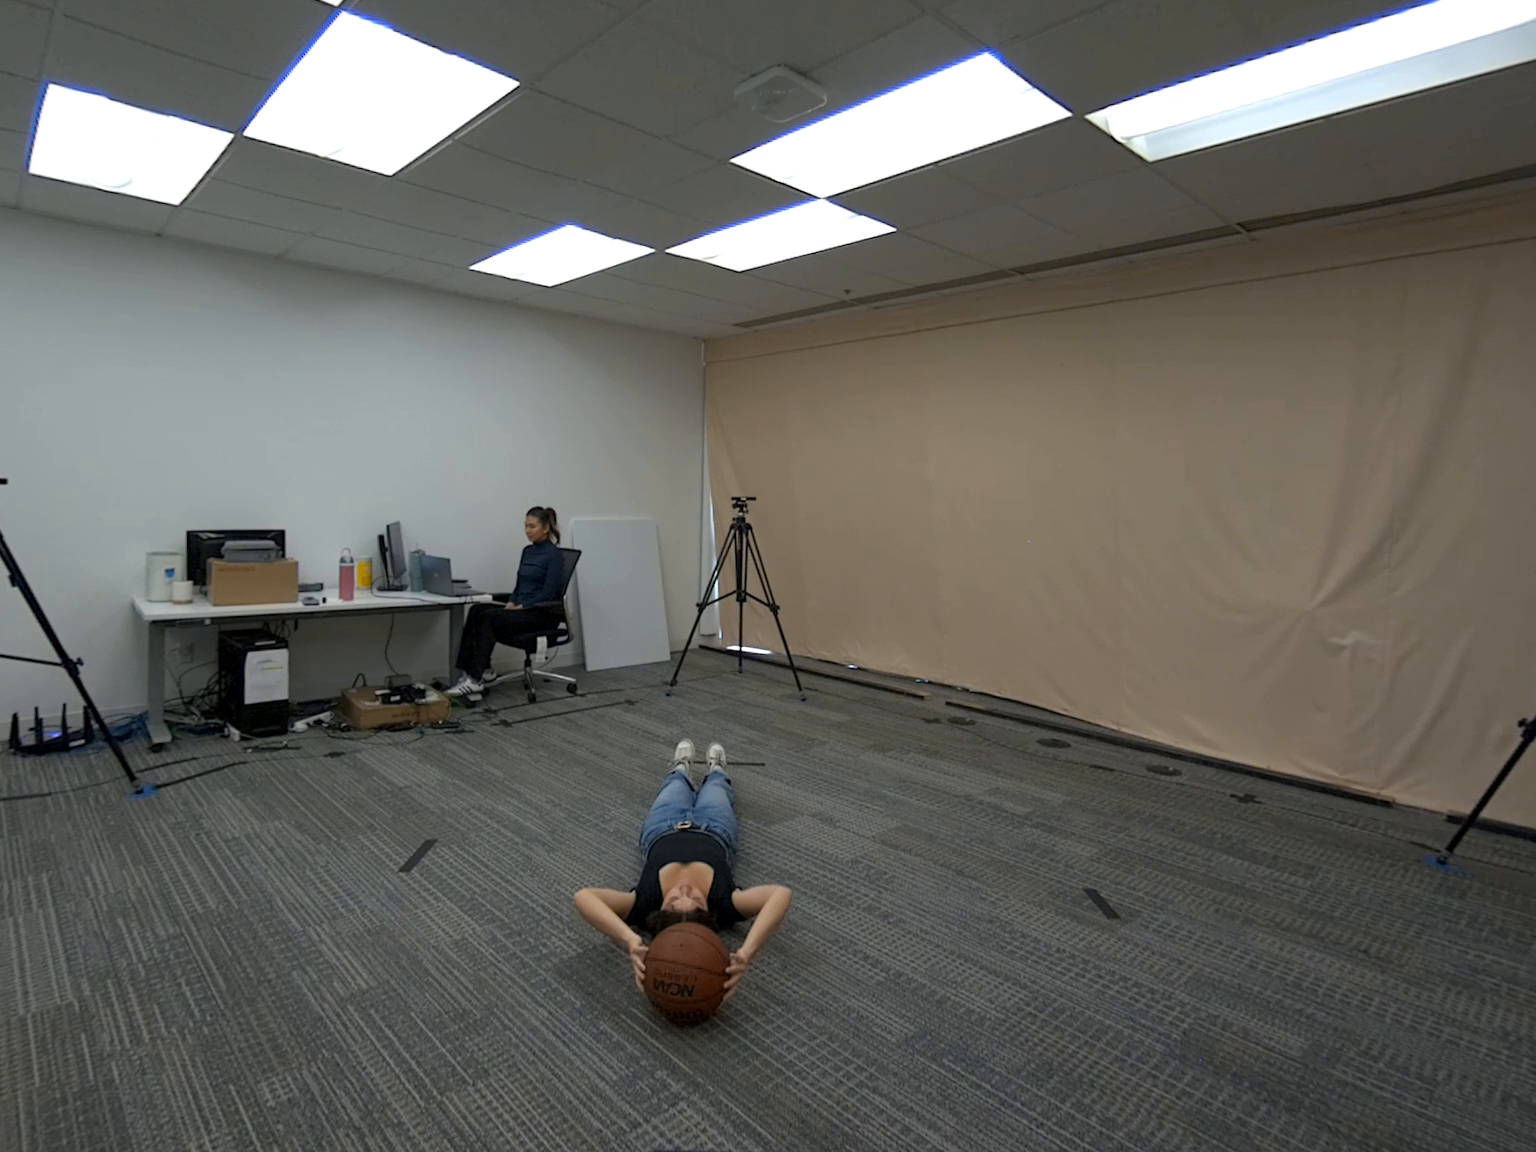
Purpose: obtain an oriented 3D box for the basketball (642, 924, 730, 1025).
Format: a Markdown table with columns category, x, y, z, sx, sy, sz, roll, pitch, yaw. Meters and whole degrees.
| category | x | y | z | sx | sy | sz | roll | pitch | yaw |
| --- | --- | --- | --- | --- | --- | --- | --- | --- | --- |
| basketball | -0.224 | 1.062 | 2.258 | 0.236 | 0.235 | 0.237 | 1 | 4 | -1 |
